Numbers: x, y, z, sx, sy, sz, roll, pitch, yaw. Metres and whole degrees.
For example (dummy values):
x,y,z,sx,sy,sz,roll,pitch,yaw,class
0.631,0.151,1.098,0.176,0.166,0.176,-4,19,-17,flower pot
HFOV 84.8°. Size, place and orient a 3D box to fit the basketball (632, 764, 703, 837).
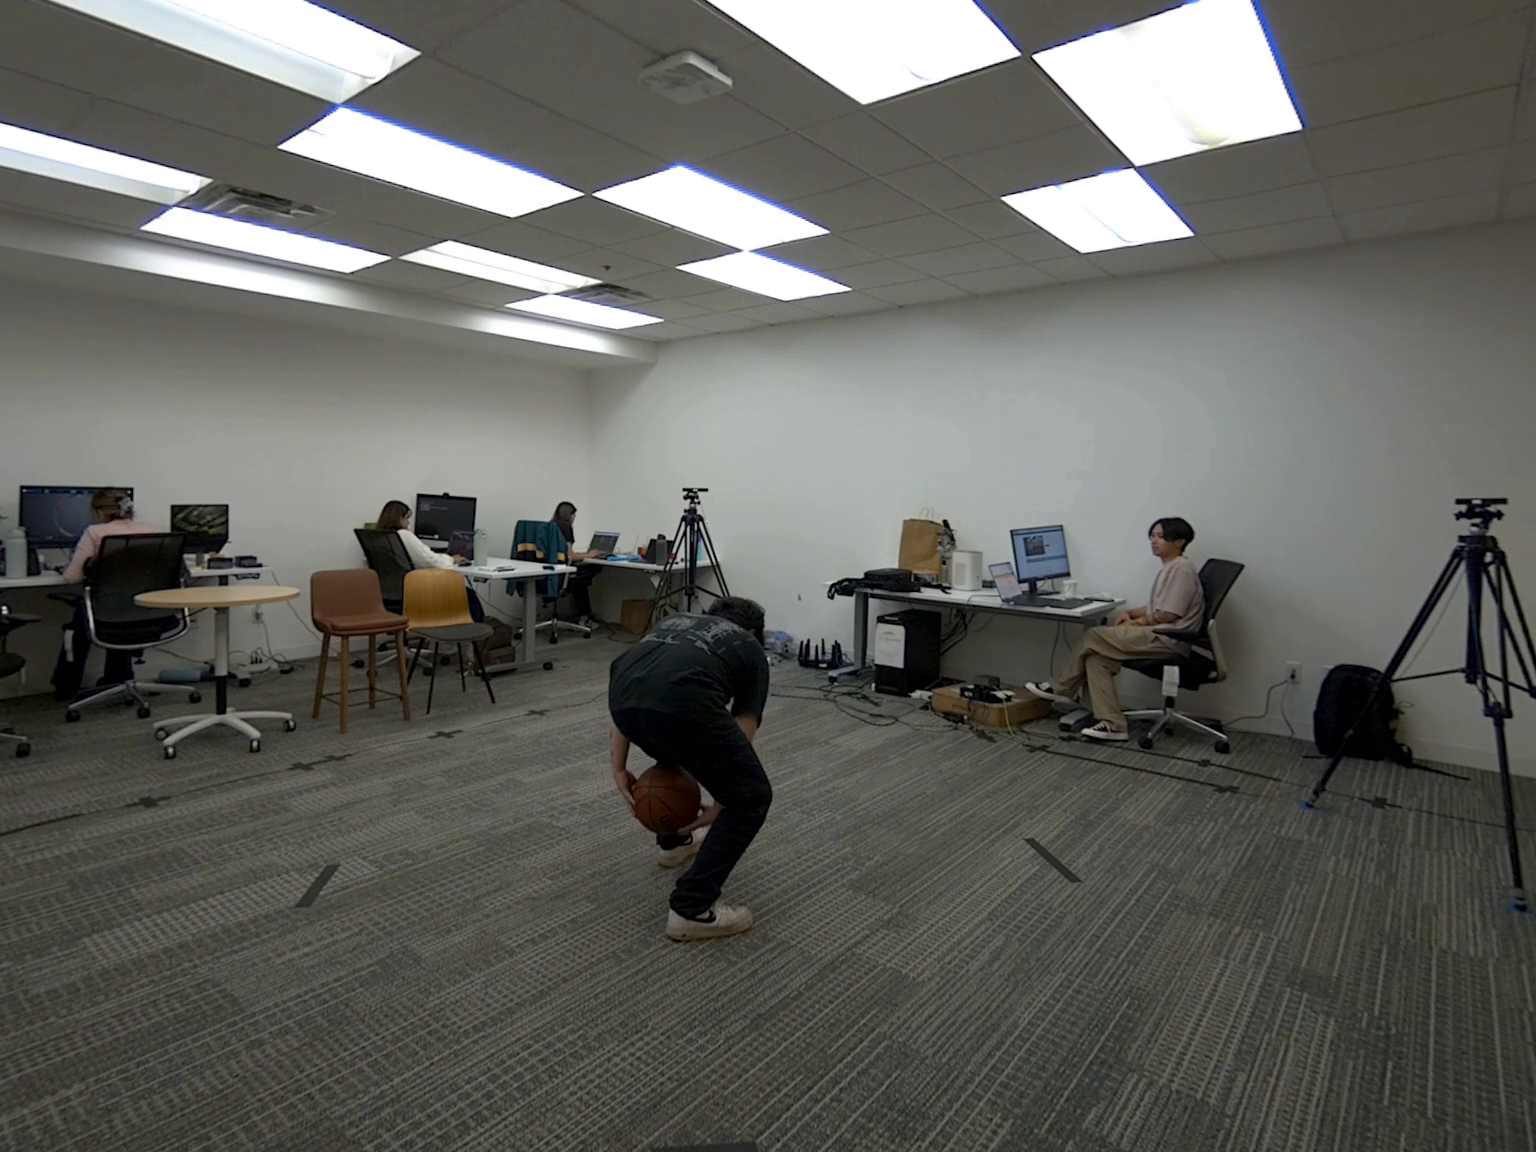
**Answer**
x,y,z,sx,sy,sz,roll,pitch,yaw,class
-0.357,0.756,2.942,0.235,0.235,0.237,1,4,-2,basketball
